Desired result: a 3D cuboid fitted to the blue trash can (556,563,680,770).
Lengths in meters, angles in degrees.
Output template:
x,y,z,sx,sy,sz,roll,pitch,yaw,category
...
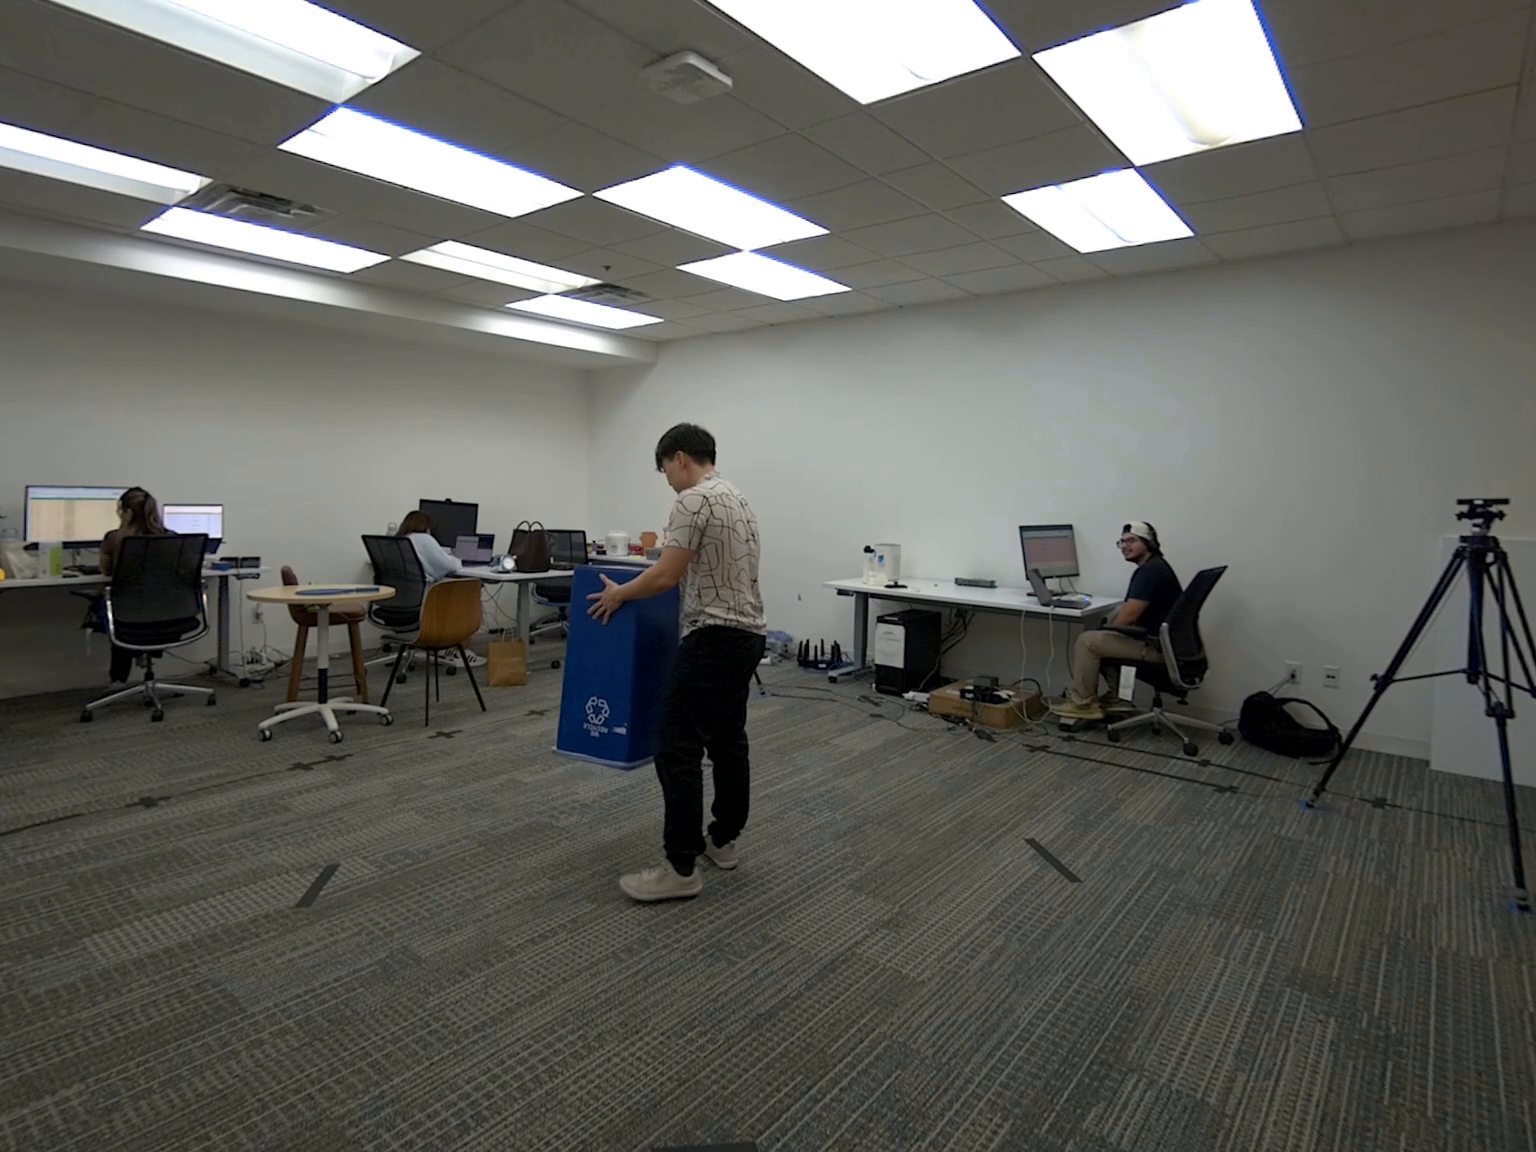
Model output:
x,y,z,sx,sy,sz,roll,pitch,yaw,category
-0.582,0.324,3.258,0.389,0.714,0.363,2,-1,28,blue trash can
